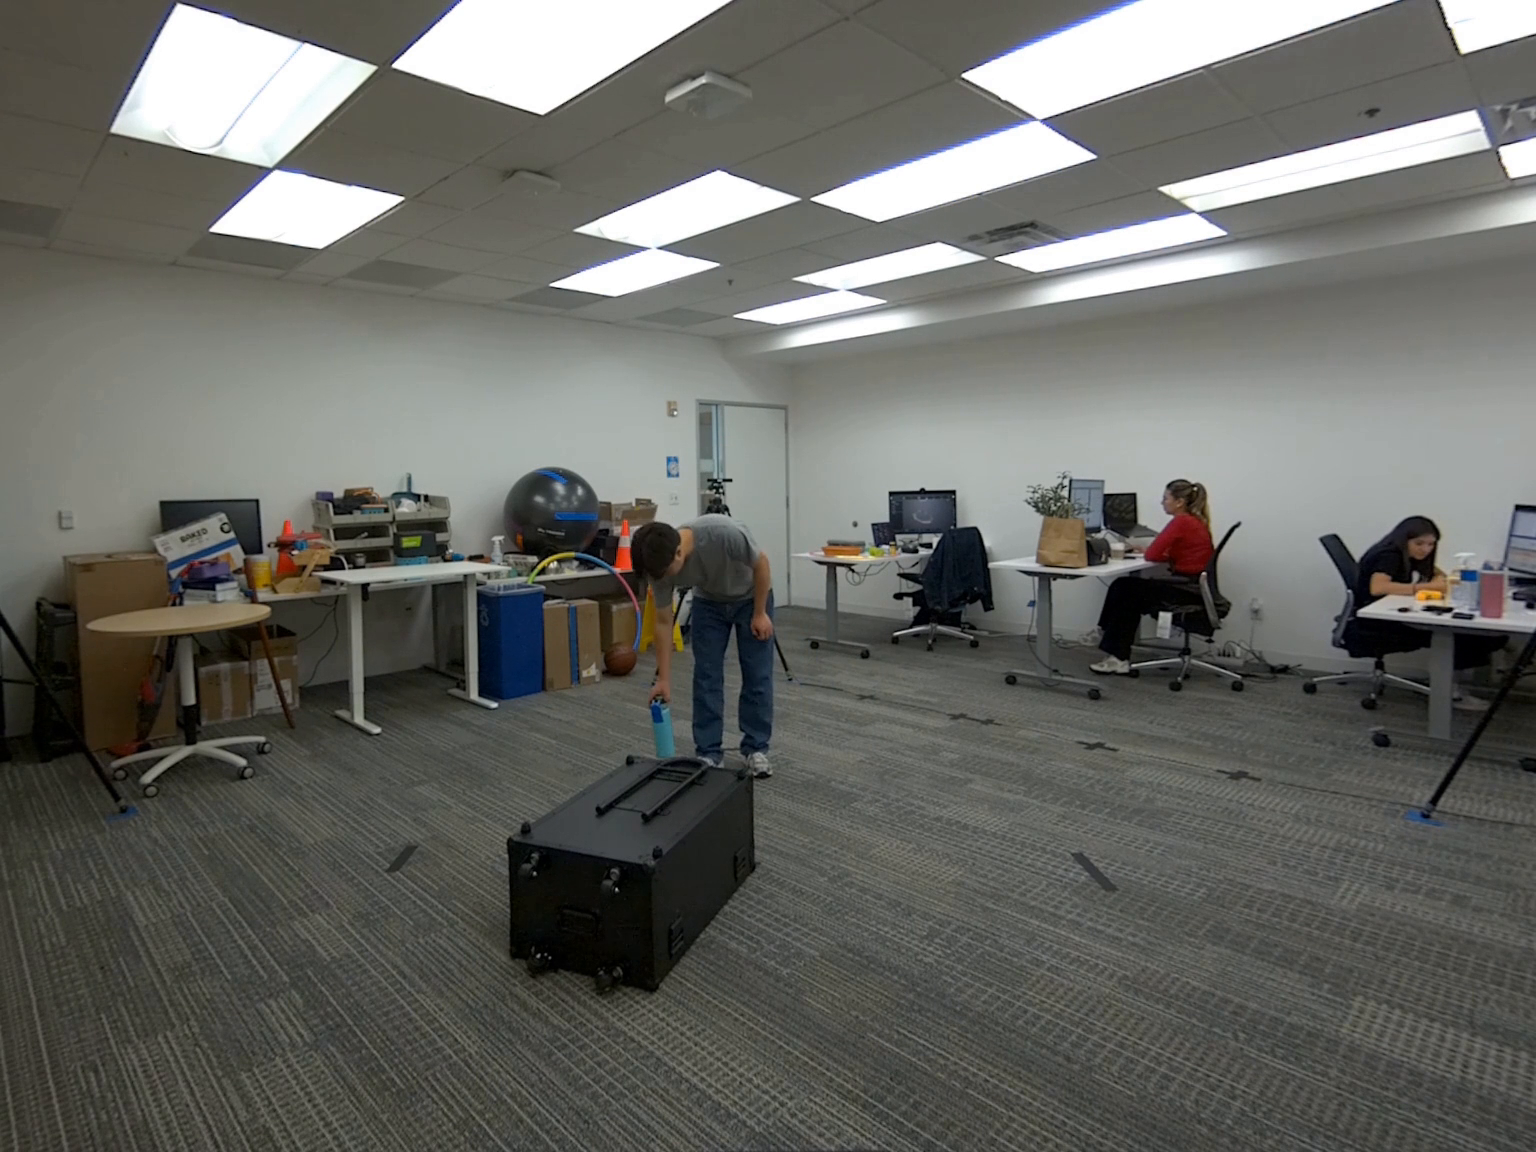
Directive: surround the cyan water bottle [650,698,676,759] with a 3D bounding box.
[{"bbox_3d":[-0.482,0.688,3.895,0.092,0.280,0.093,-4,10,-1],"label":"cyan water bottle"}]
